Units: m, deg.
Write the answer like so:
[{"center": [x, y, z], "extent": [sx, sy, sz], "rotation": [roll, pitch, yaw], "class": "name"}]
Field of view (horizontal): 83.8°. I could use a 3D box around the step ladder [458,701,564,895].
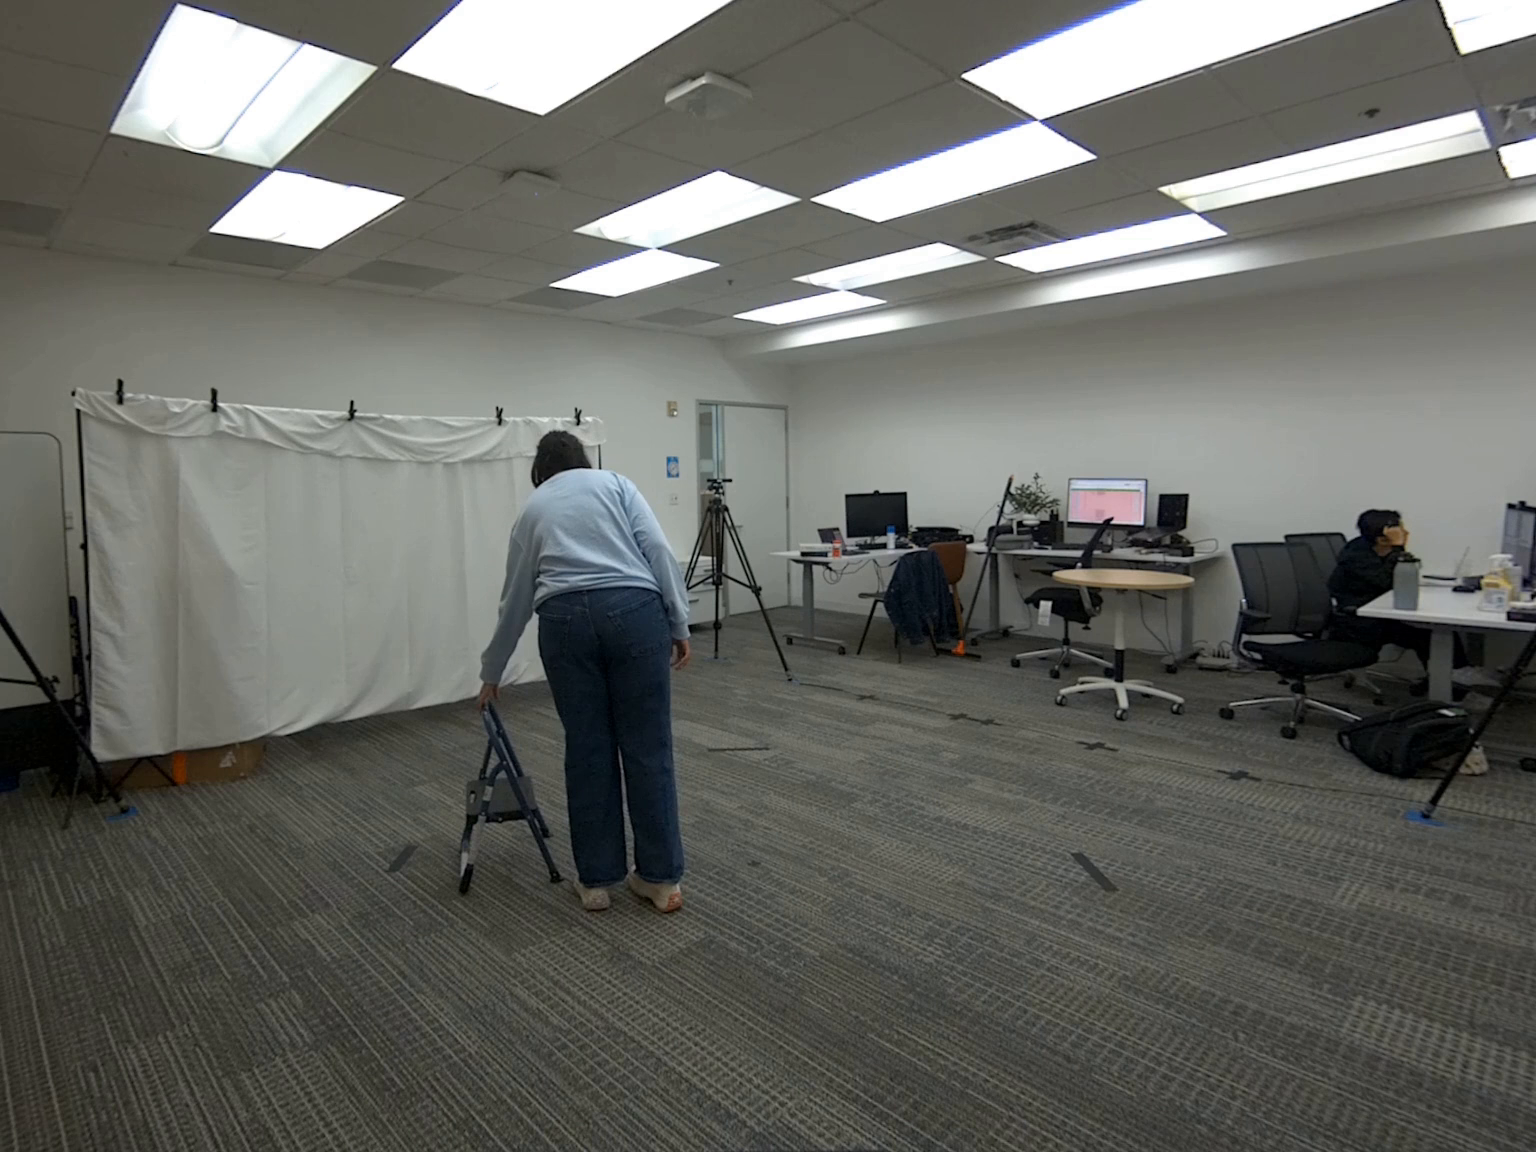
[{"center": [-0.954, 0.756, 3.133], "extent": [0.343, 0.604, 0.439], "rotation": [-2, 5, -19], "class": "step ladder"}]
